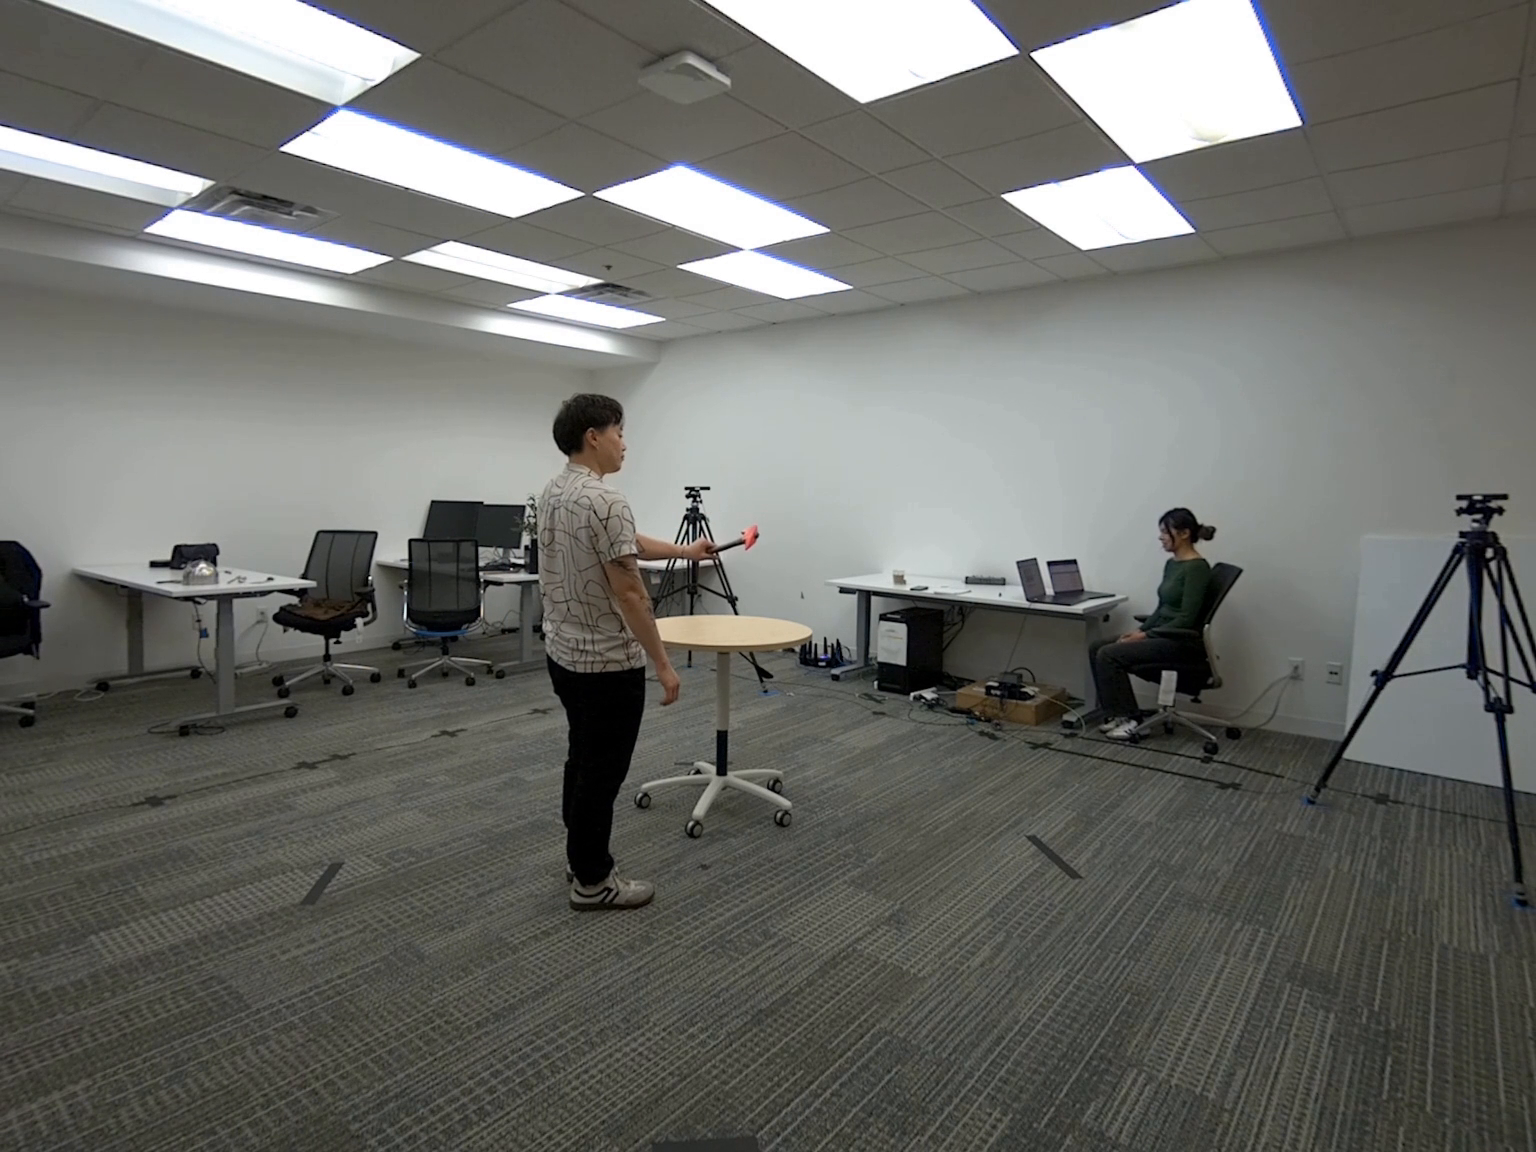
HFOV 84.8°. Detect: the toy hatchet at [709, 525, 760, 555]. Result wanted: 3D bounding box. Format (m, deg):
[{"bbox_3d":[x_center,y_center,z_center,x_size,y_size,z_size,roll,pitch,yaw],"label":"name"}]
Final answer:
[{"bbox_3d":[-0.135,-0.128,2.931,0.278,0.132,0.028,-3,-45,46],"label":"toy hatchet"}]
